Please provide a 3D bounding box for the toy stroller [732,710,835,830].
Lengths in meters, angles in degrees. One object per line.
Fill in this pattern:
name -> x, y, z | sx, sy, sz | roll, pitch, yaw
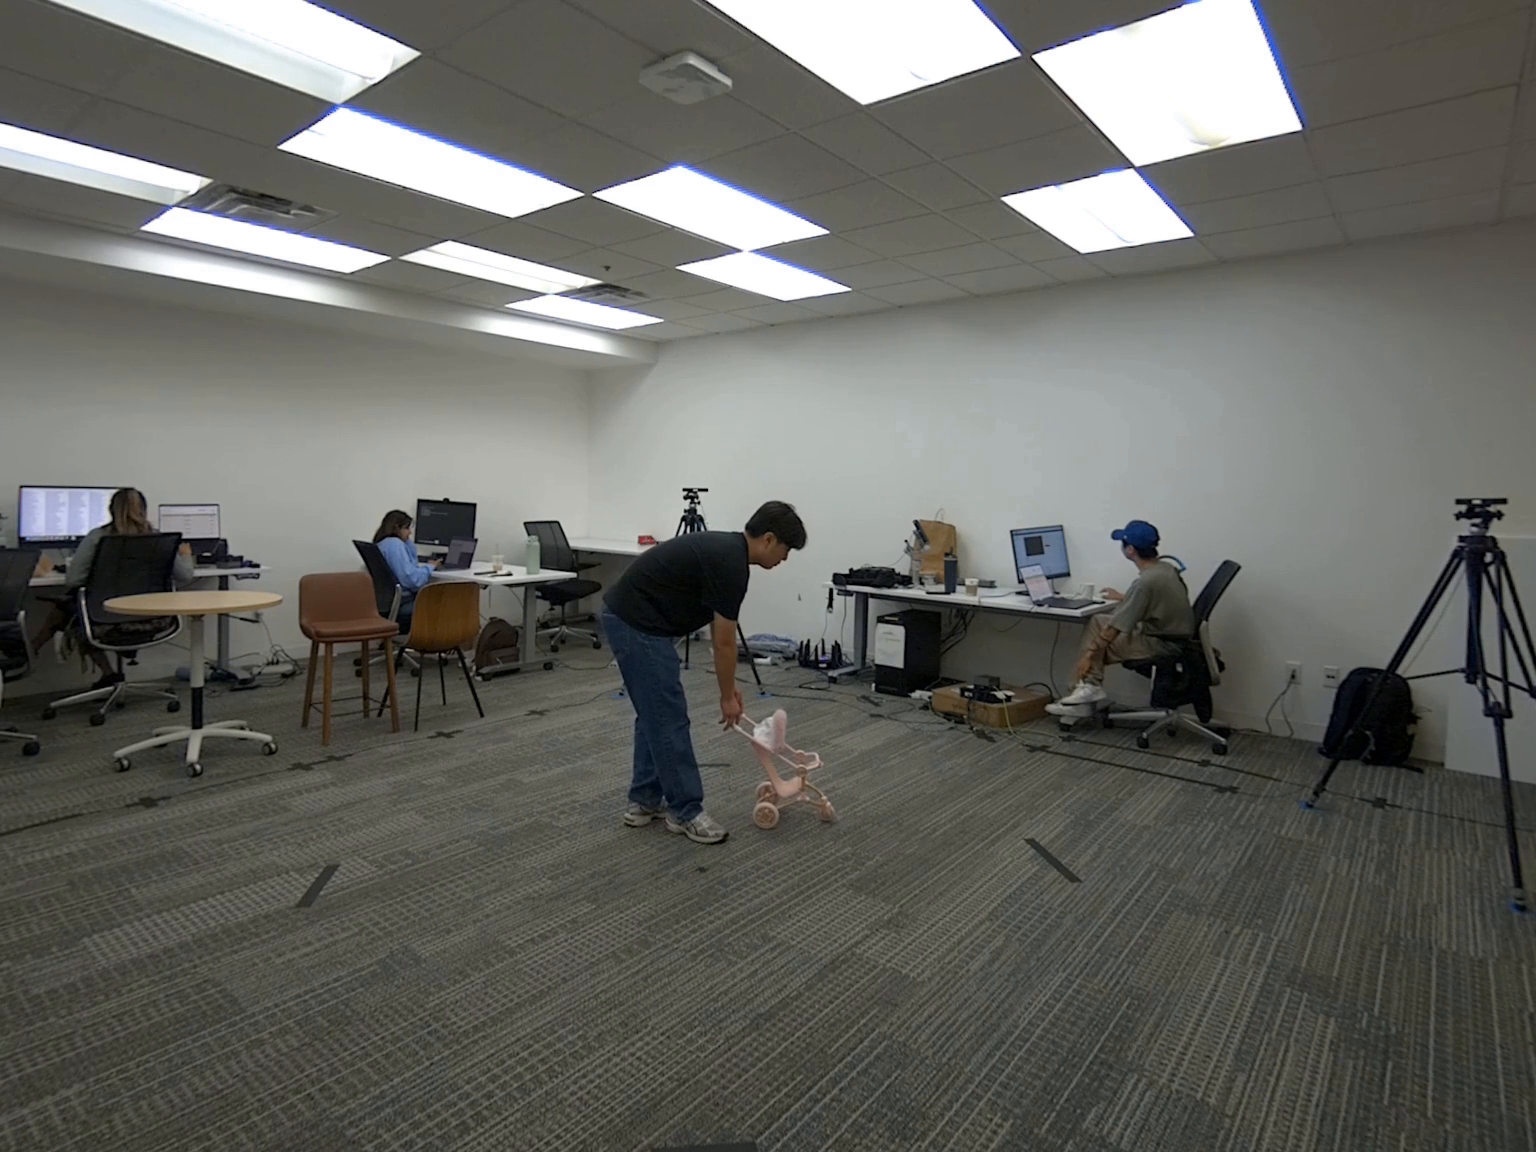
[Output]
toy stroller -> 0.052, 0.805, 3.598 | 0.344, 0.534, 0.280 | -15, 2, 9
